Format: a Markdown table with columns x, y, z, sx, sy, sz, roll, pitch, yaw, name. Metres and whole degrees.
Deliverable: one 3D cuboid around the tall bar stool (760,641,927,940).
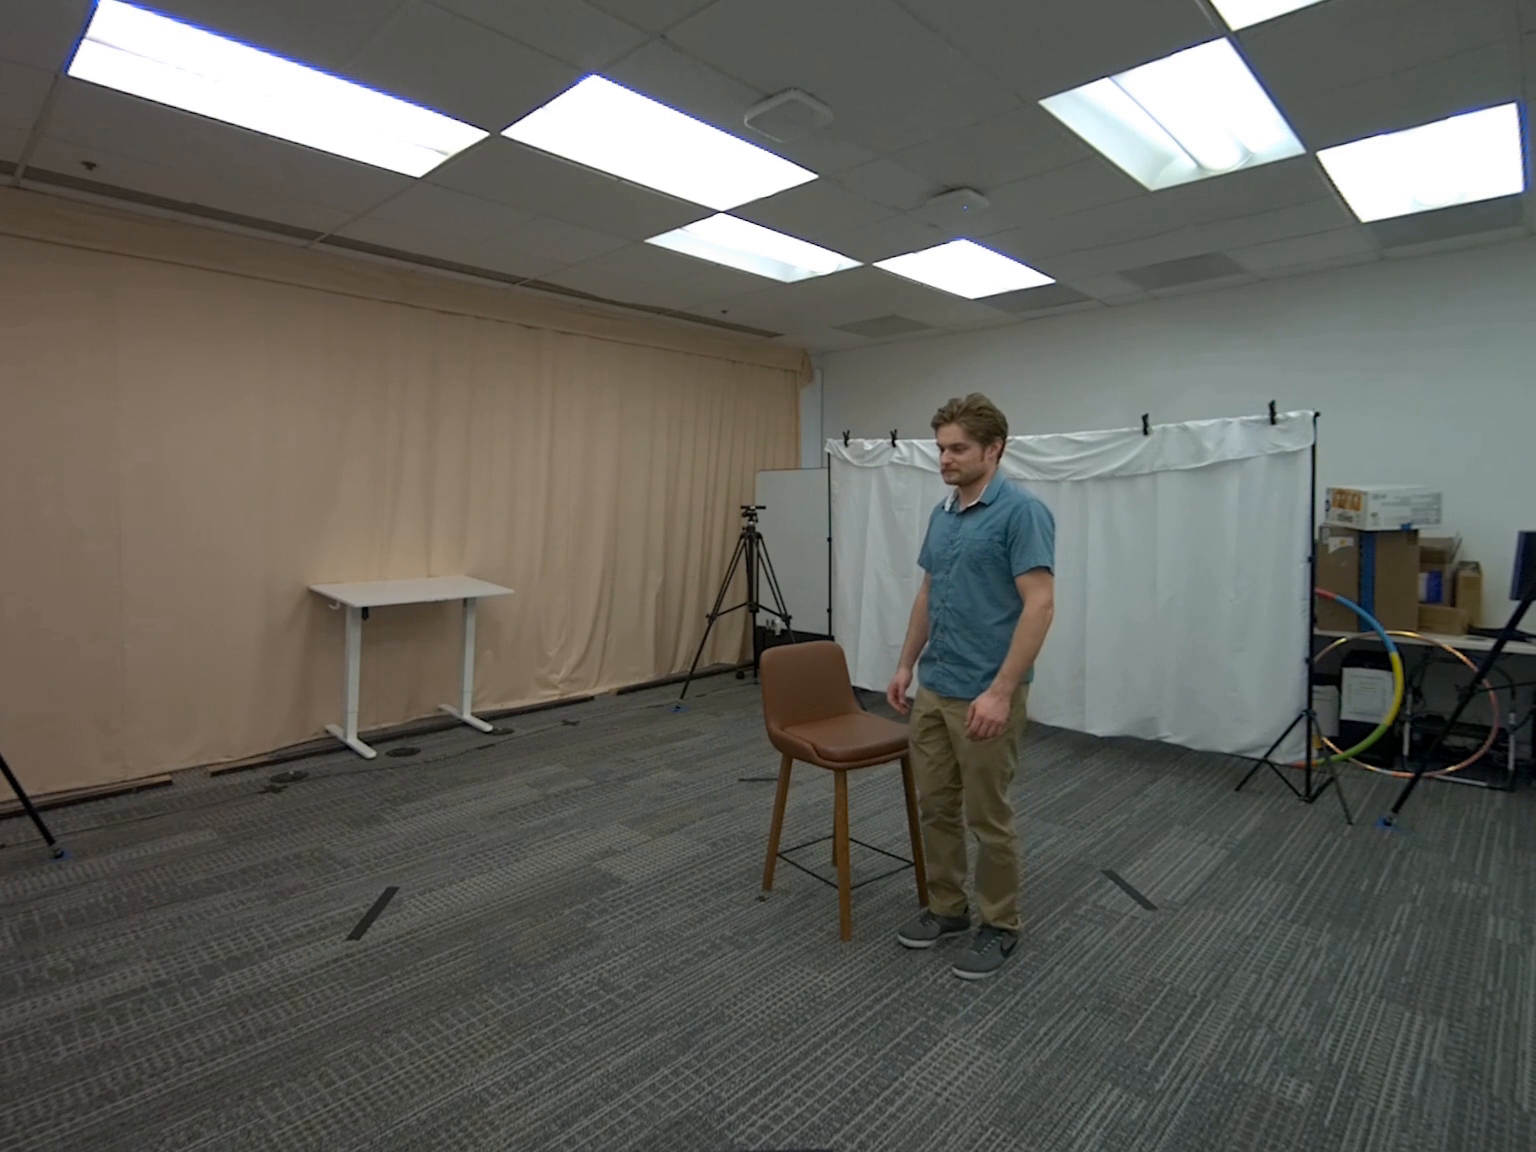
| x | y | z | sx | sy | sz | roll | pitch | yaw | name |
| --- | --- | --- | --- | --- | --- | --- | --- | --- | --- |
| 0.258 | 0.710 | 2.968 | 0.443 | 0.888 | 0.482 | -3 | 3 | -37 | tall bar stool |
